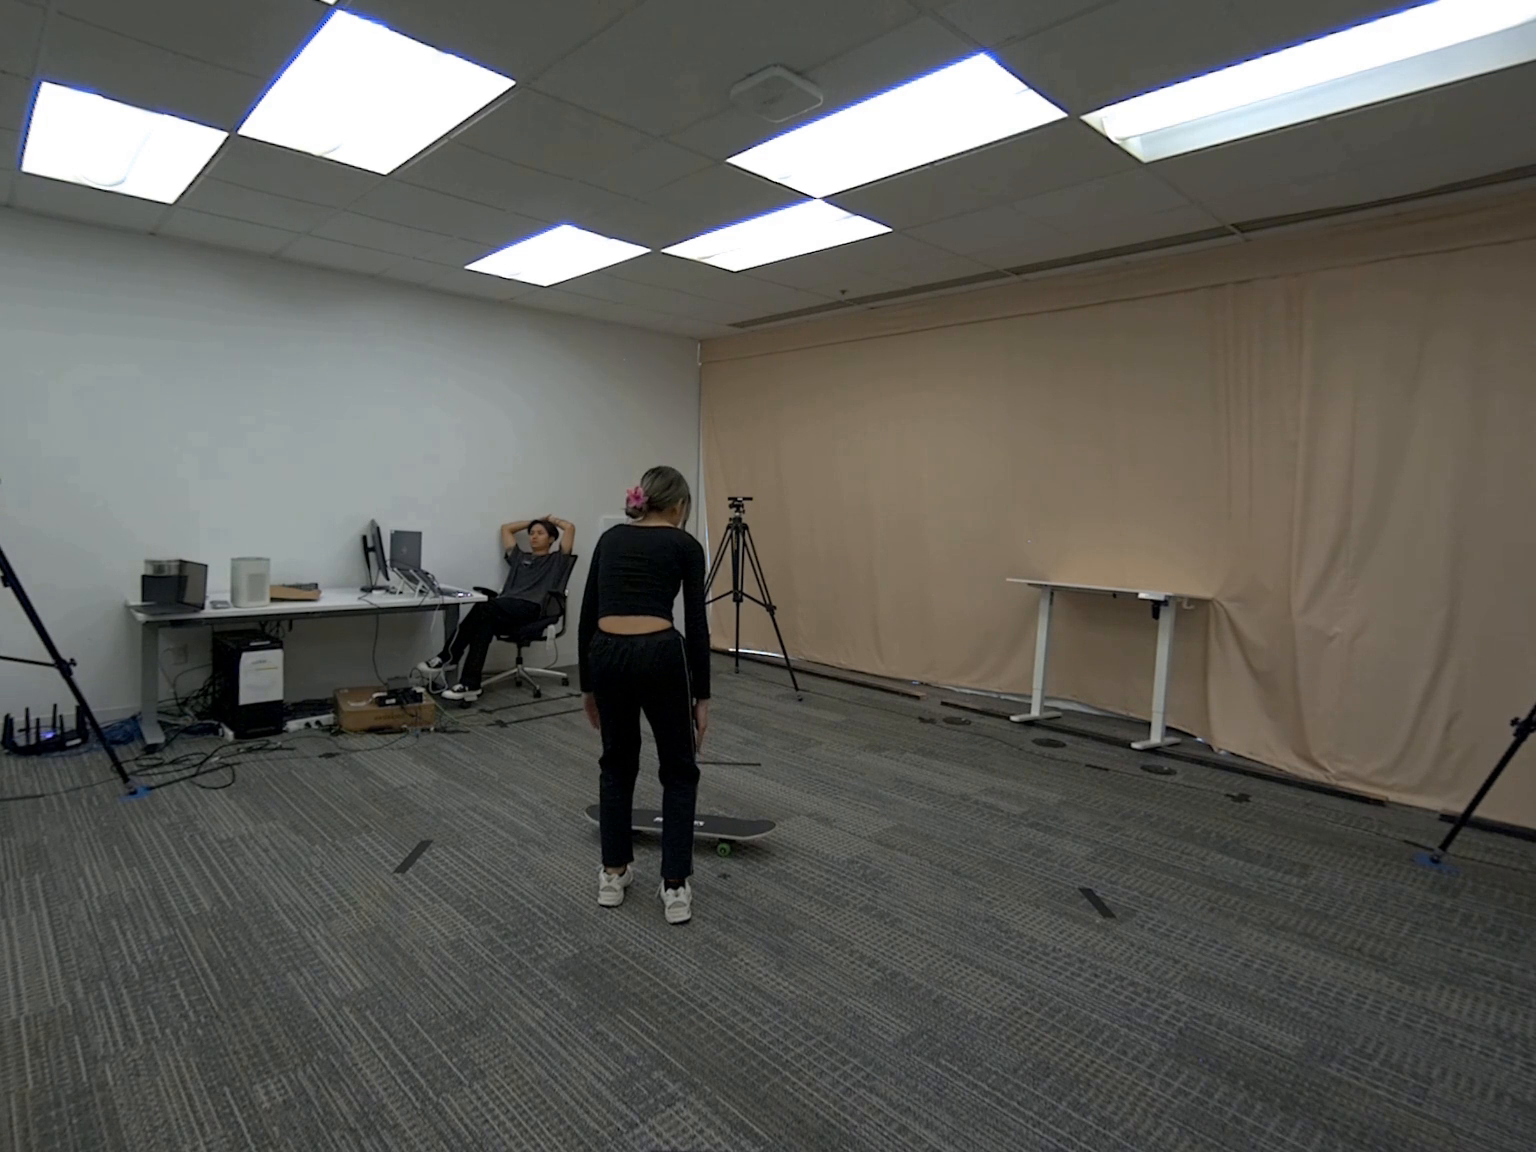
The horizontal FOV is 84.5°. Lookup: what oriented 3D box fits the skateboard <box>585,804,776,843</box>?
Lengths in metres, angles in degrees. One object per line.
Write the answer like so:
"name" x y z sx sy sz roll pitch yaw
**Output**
"skateboard" -0.361 1.016 3.388 0.793 0.110 0.192 3 4 11
